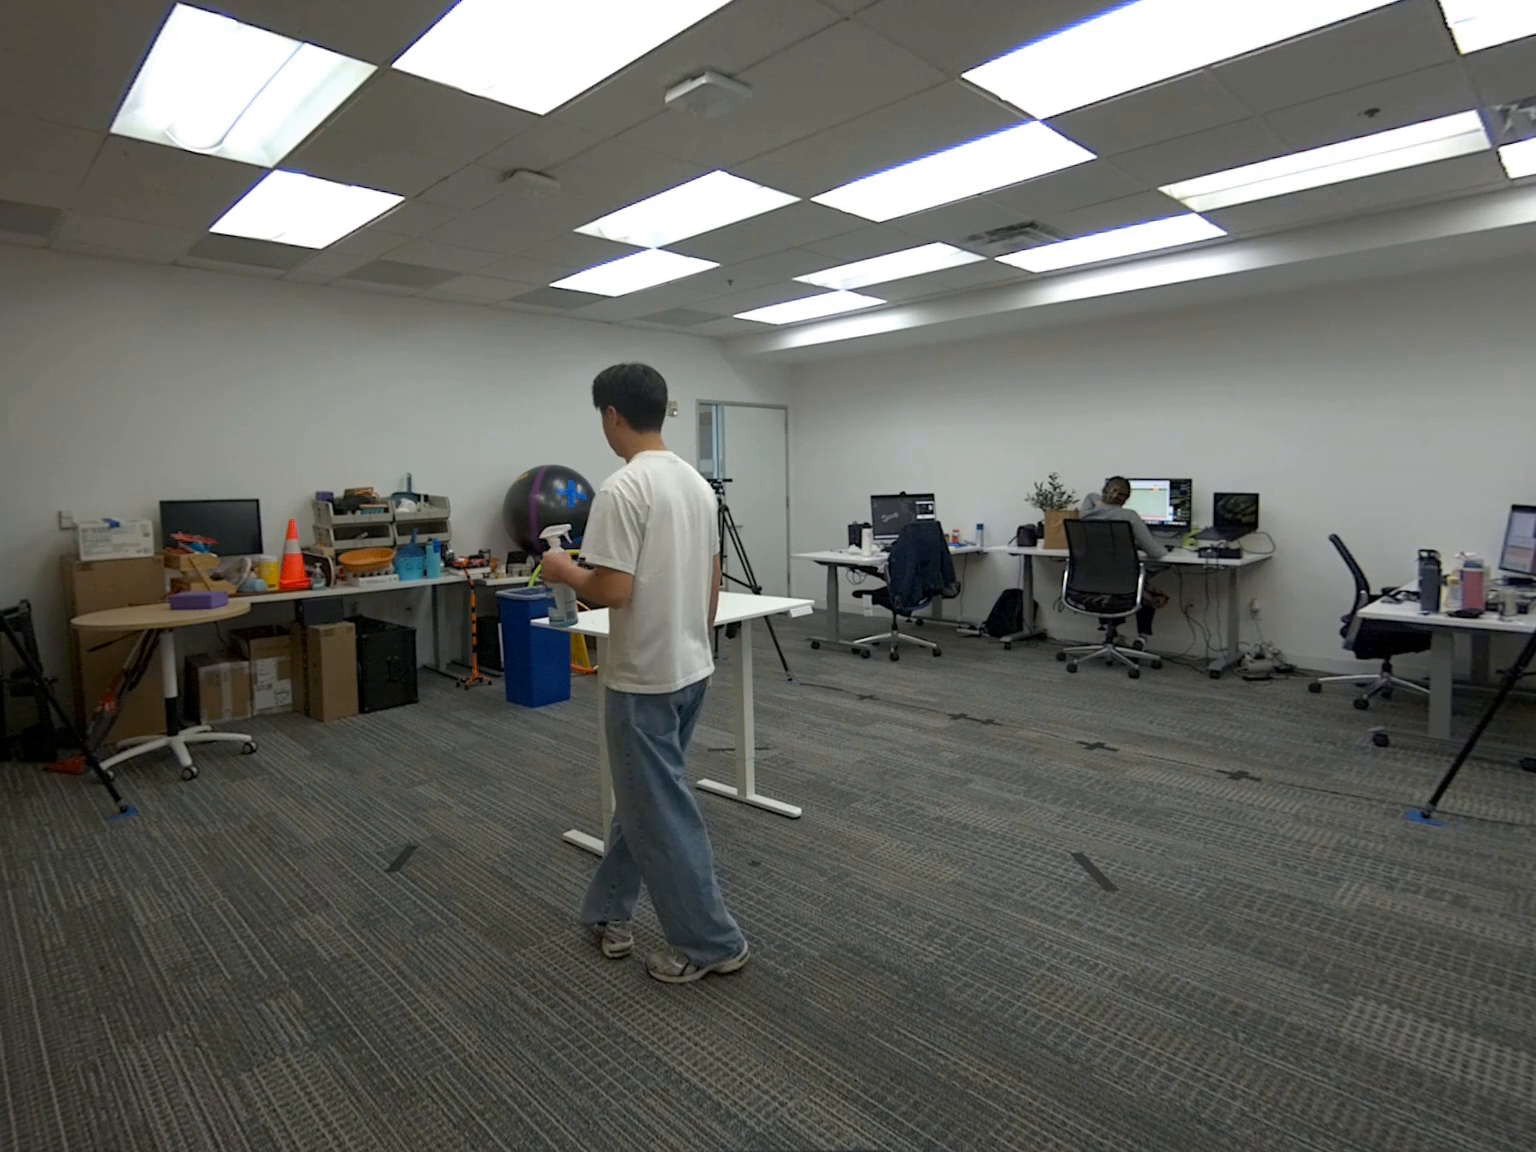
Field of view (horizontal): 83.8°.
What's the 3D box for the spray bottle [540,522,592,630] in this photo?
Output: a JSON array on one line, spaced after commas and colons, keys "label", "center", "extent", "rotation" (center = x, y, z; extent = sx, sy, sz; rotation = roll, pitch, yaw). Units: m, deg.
[{"label": "spray bottle", "center": [-0.590, -0.002, 2.501], "extent": [0.091, 0.295, 0.086], "rotation": [-1, 7, 16]}]
